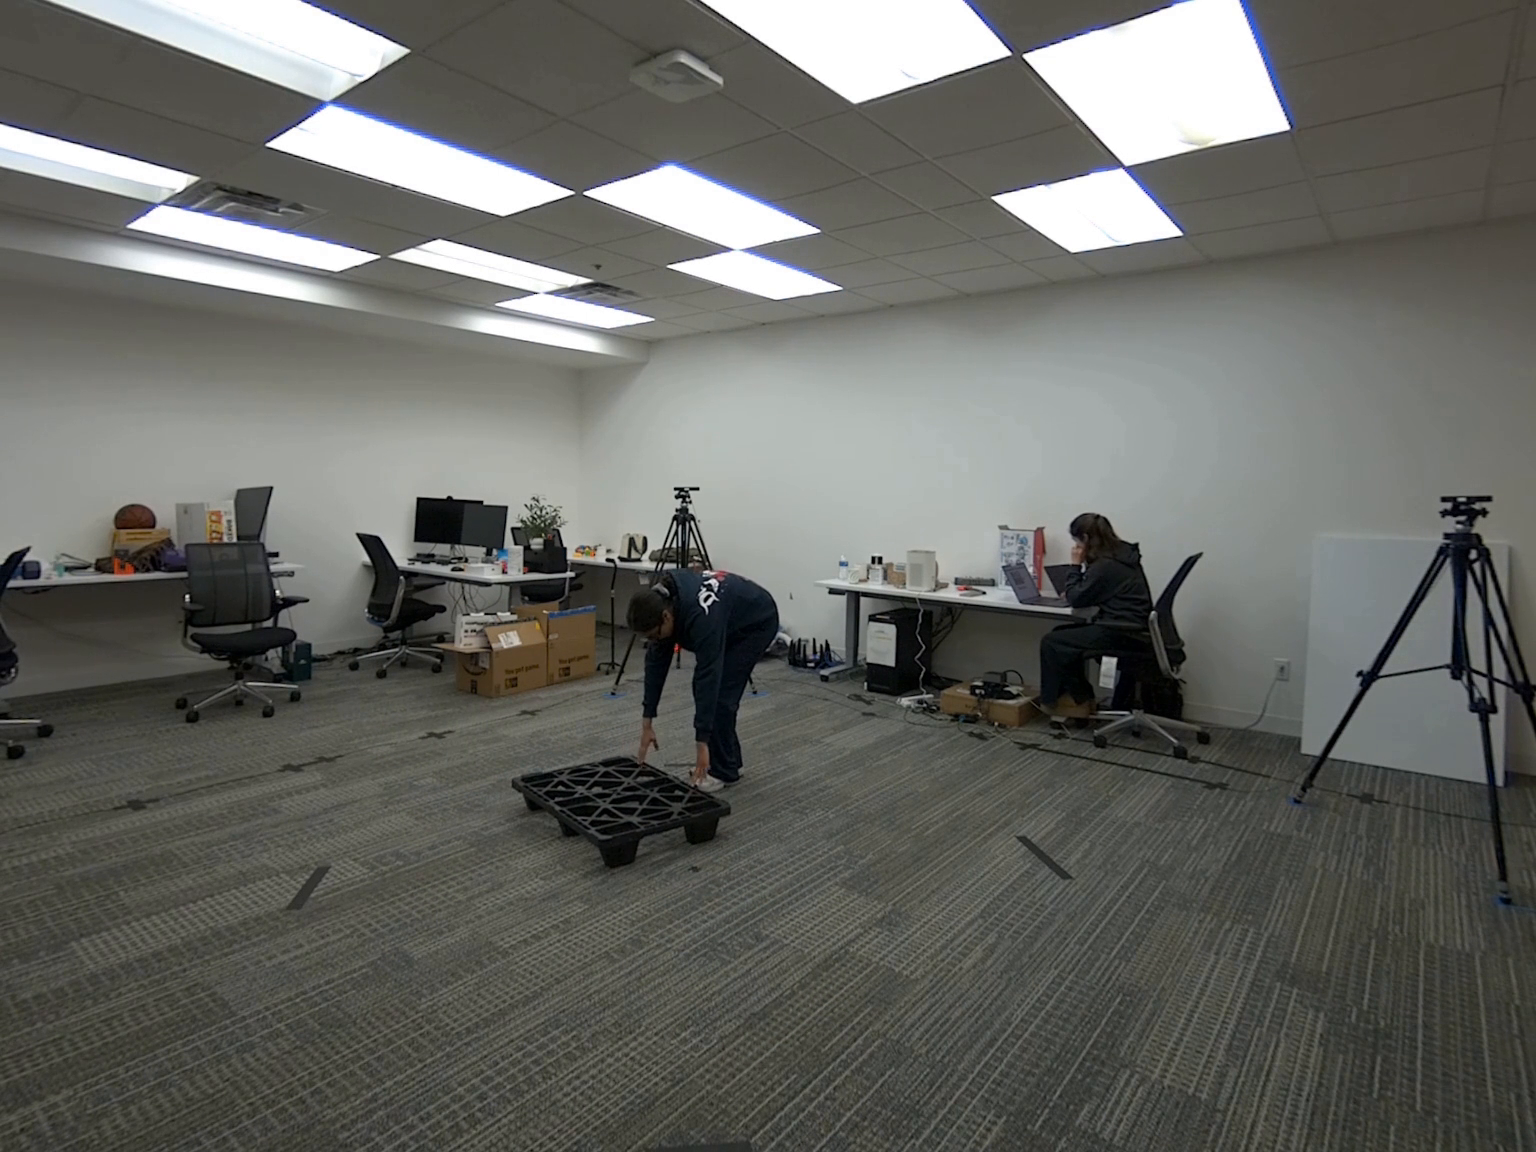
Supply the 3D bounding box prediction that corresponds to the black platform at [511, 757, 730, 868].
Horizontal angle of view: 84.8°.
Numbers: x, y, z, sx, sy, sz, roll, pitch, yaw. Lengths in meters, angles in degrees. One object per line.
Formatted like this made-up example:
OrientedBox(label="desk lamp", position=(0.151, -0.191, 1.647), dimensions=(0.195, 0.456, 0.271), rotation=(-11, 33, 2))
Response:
OrientedBox(label="black platform", position=(-0.639, 0.953, 3.520), dimensions=(0.587, 0.143, 0.833), rotation=(-3, 7, -39))
